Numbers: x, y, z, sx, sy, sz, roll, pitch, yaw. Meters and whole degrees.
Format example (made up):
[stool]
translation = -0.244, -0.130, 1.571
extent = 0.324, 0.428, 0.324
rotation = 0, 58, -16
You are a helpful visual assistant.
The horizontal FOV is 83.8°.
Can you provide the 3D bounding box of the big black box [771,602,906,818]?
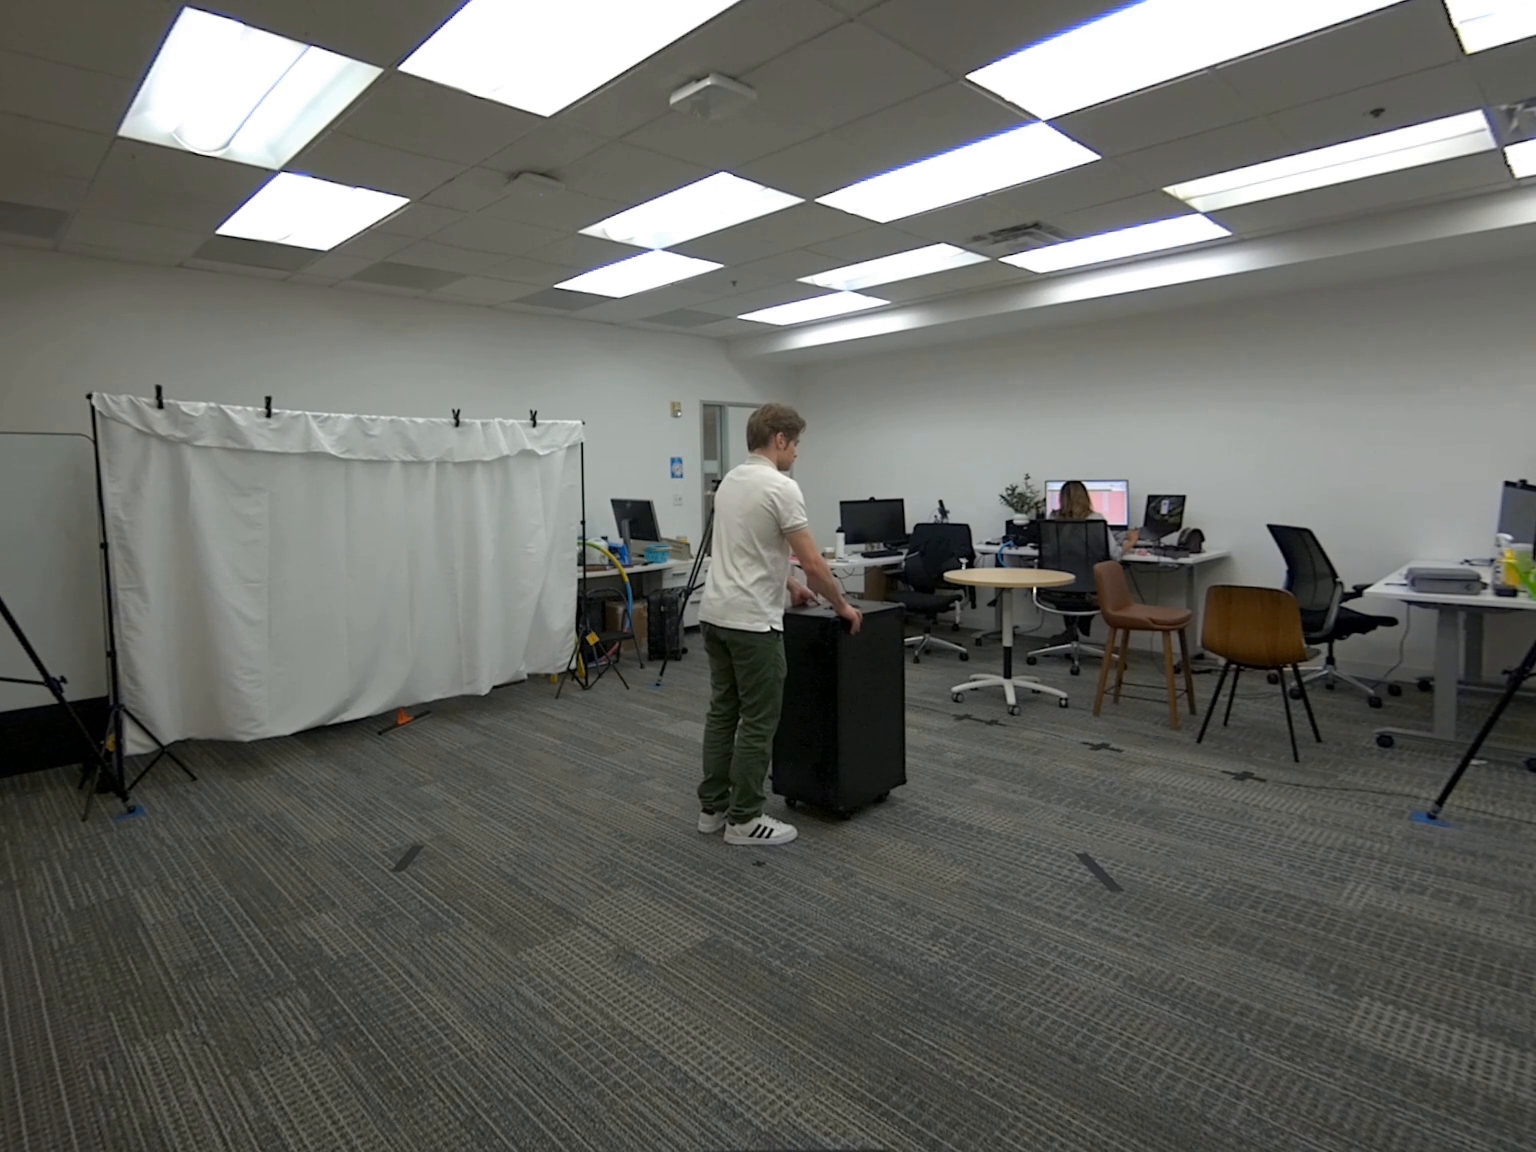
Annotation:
[big black box]
translation = 0.300, 0.561, 3.647
extent = 0.397, 0.866, 0.509
rotation = 3, 5, 43
